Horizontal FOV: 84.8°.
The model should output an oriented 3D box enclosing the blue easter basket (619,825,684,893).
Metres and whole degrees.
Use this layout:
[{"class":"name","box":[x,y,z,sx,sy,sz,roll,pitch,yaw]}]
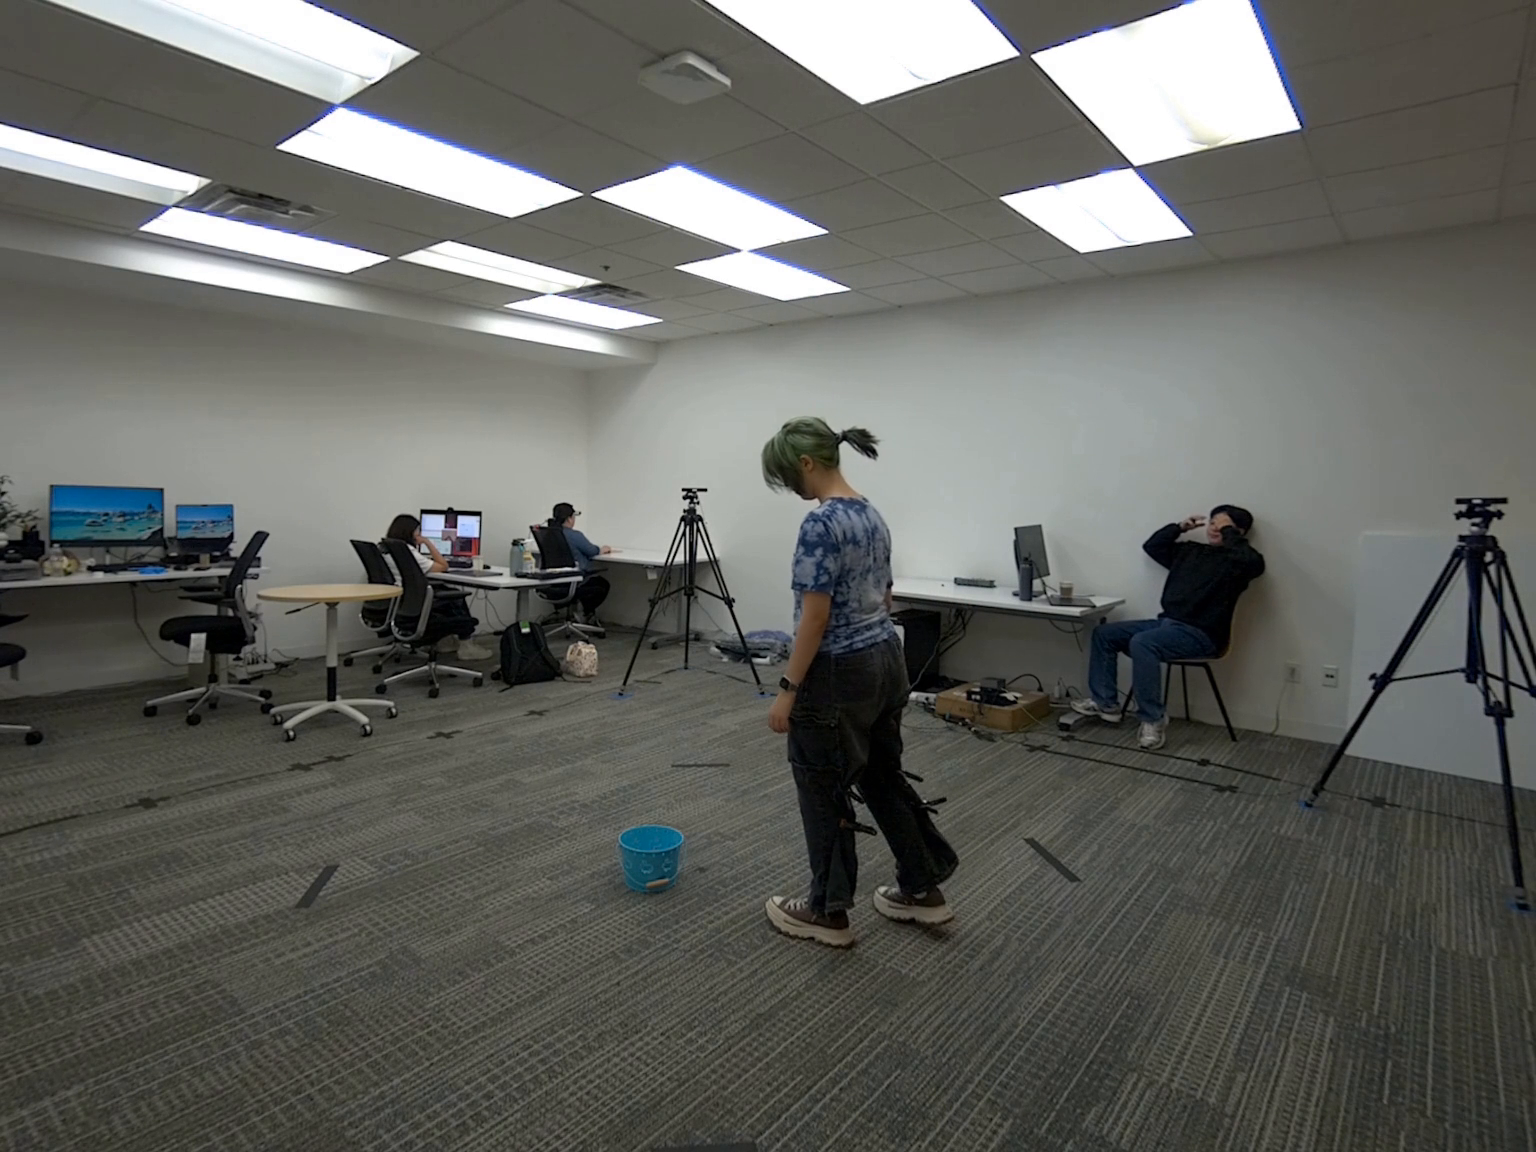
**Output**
[{"class":"blue easter basket","box":[-0.428,0.998,3.006,0.243,0.155,0.245,0,5,-2]}]
